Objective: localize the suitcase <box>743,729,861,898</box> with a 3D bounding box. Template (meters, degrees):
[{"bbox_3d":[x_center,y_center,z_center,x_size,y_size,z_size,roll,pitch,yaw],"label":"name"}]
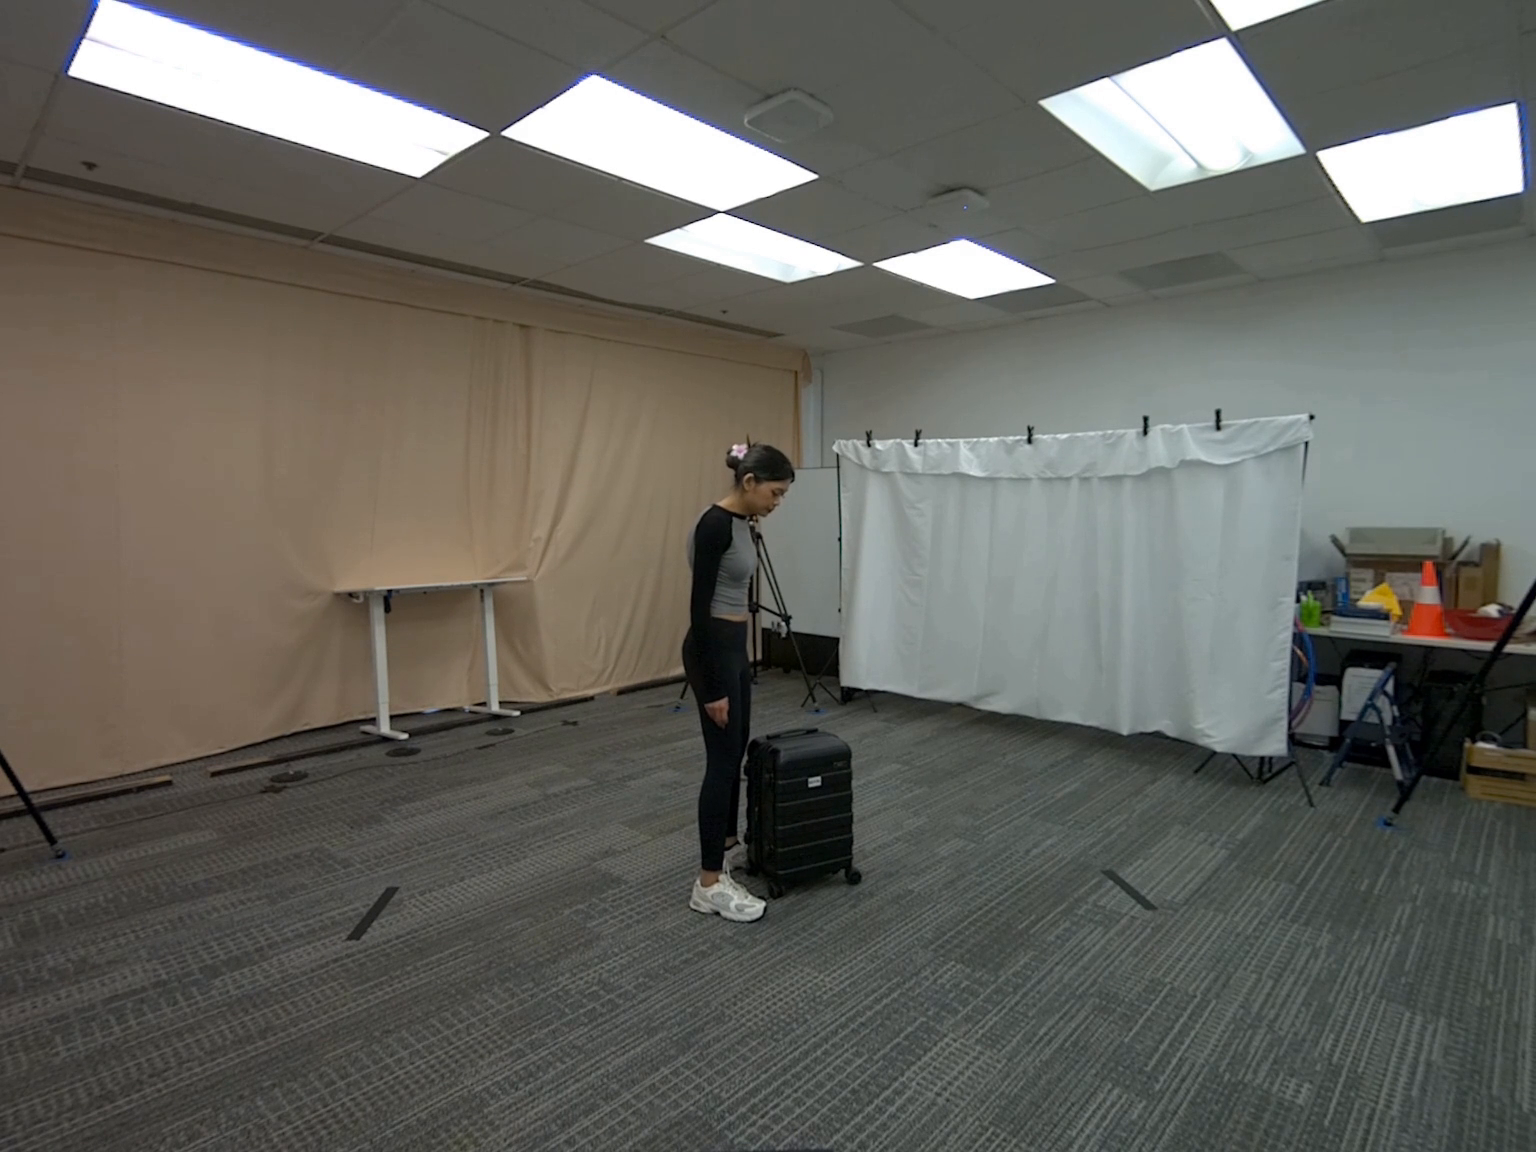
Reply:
[{"bbox_3d":[0.124,0.855,3.115,0.366,0.548,0.255,-1,4,-26],"label":"suitcase"}]
